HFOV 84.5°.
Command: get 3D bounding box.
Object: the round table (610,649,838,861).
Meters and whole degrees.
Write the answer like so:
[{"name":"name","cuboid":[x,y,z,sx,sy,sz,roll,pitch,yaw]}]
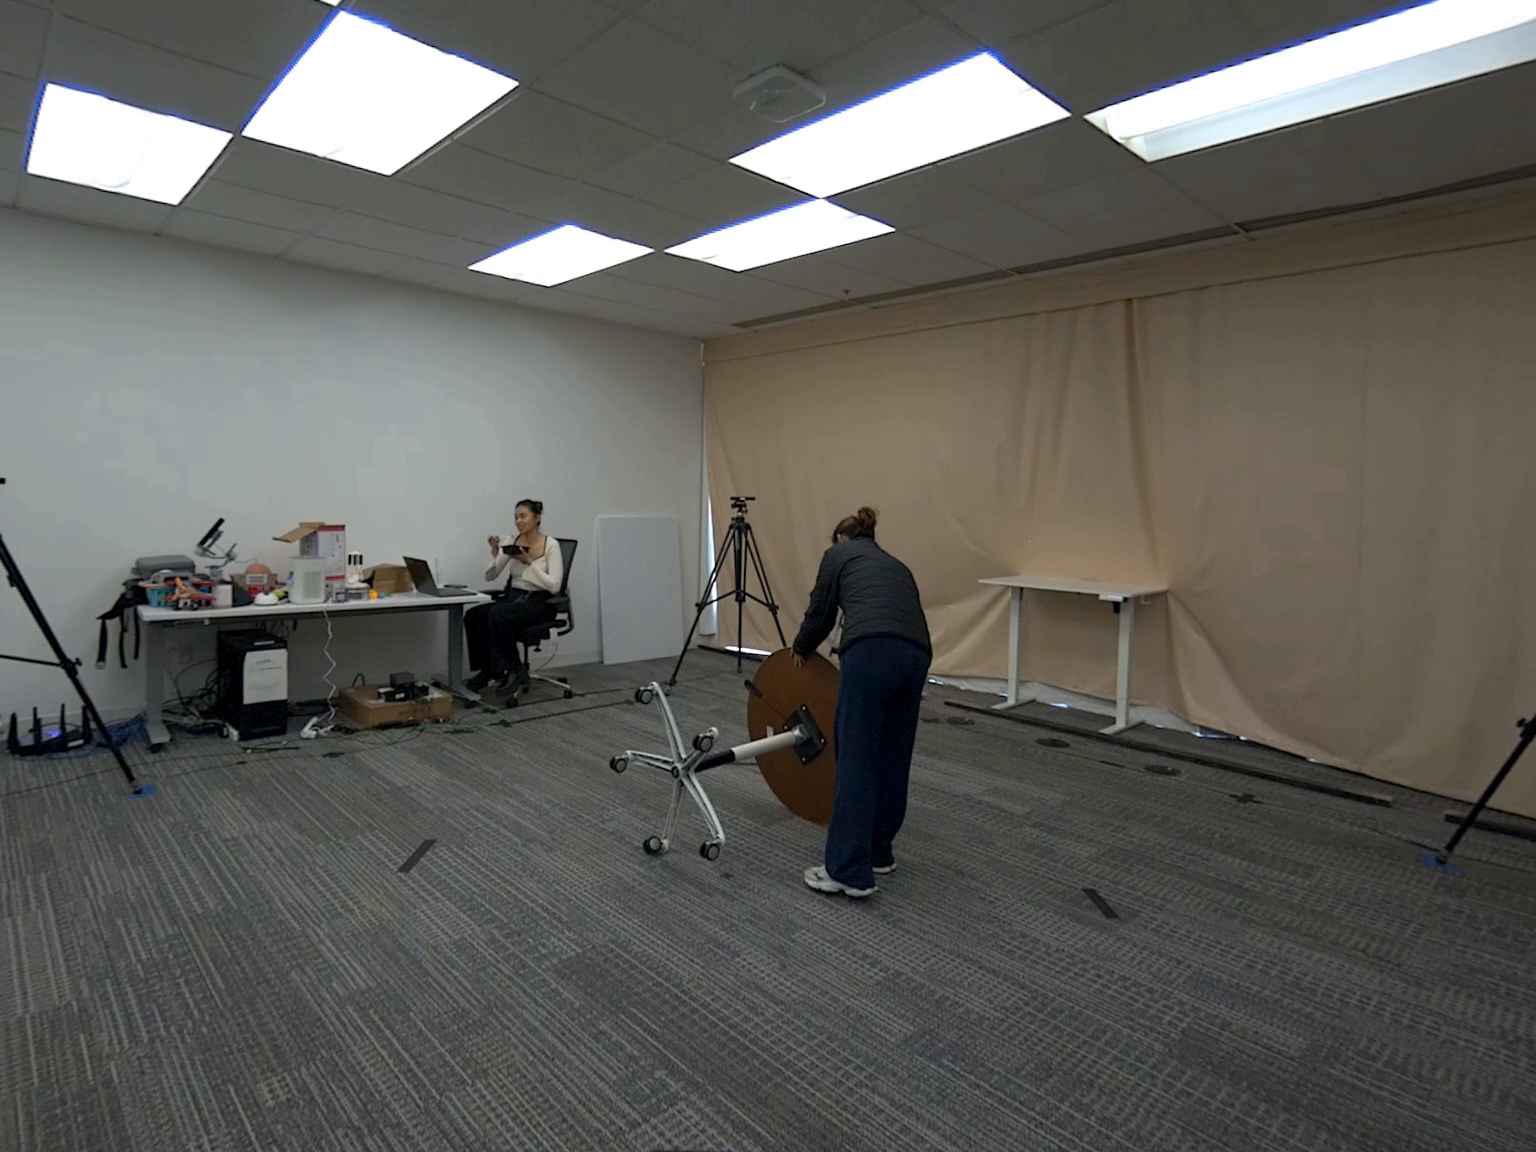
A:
[{"name":"round table","cuboid":[-0.120,0.715,3.398,0.769,0.782,0.805,-5,7,-41]}]
